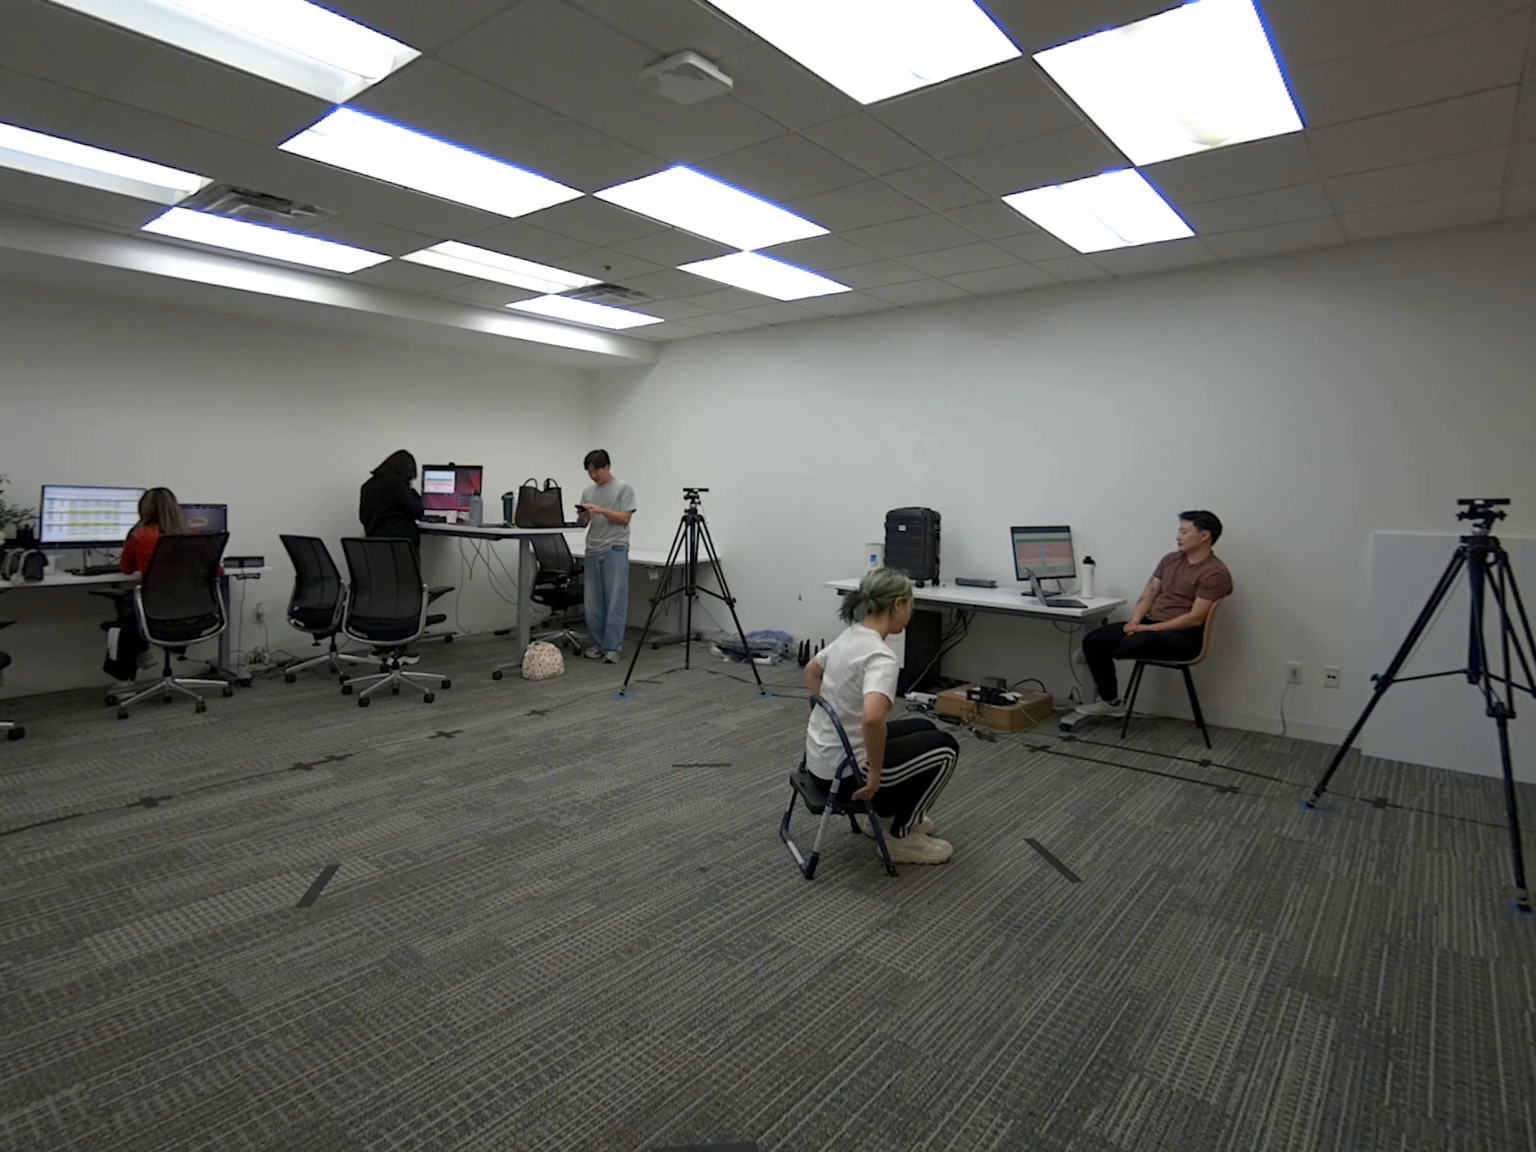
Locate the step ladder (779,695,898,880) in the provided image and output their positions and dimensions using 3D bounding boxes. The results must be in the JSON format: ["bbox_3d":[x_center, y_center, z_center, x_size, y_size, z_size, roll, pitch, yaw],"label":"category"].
[{"bbox_3d":[0.254,0.767,3.259,0.345,0.604,0.437,1,3,-12],"label":"step ladder"}]
